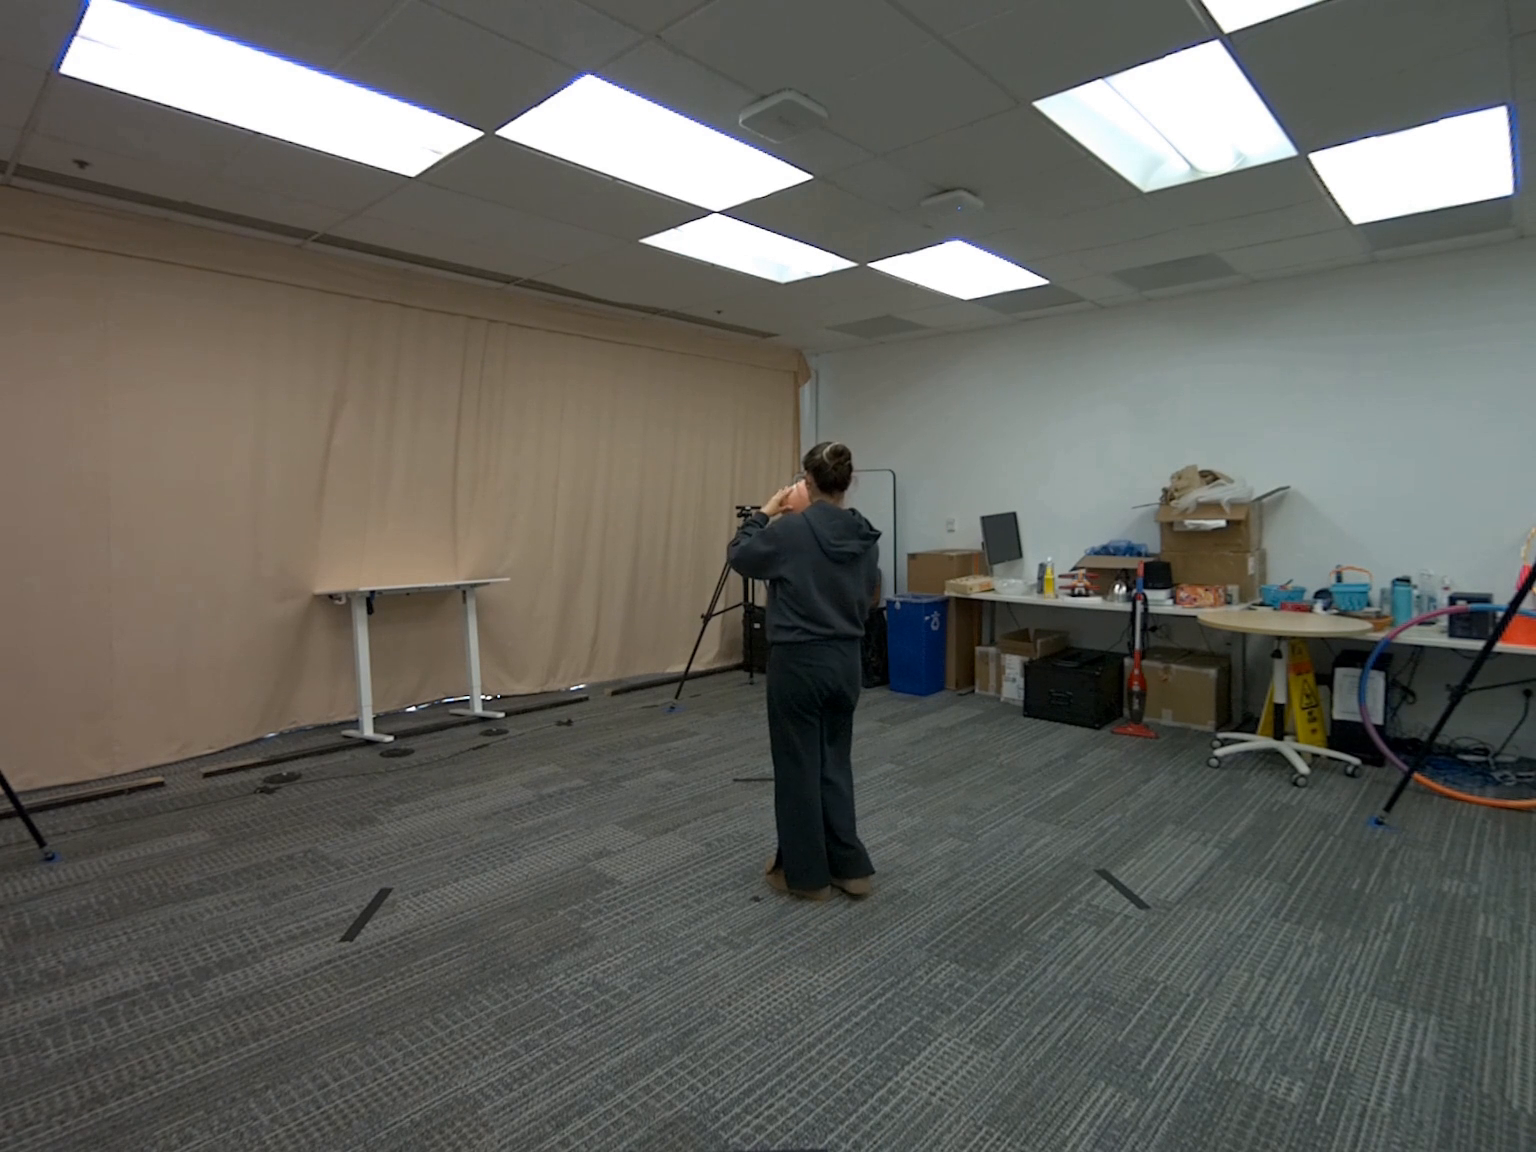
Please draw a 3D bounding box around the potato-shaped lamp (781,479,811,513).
[{"bbox_3d":[0.155,-0.271,3.275,0.172,0.198,0.164,-25,2,3],"label":"potato-shaped lamp"}]
